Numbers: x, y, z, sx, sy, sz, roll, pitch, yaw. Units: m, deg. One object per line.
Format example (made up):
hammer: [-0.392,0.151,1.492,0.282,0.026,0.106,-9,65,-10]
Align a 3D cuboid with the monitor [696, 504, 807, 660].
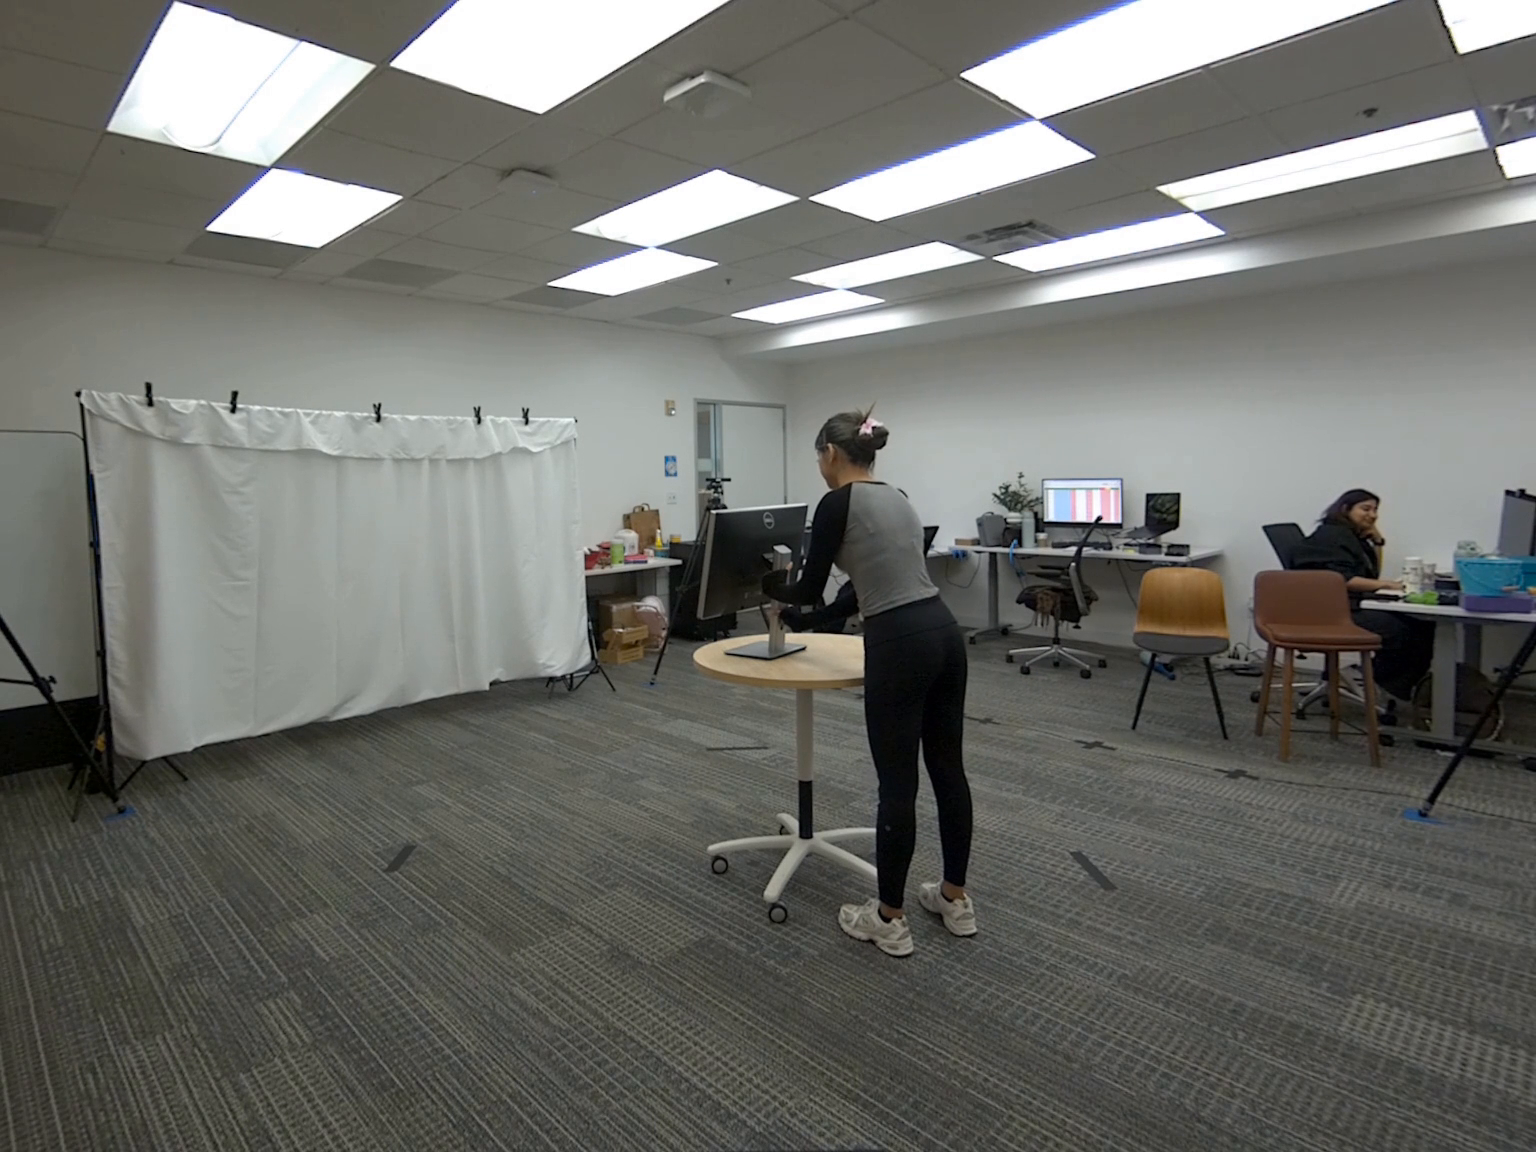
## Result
monitor: [-0.011,0.018,2.980,0.179,0.516,0.517,-8,1,37]
